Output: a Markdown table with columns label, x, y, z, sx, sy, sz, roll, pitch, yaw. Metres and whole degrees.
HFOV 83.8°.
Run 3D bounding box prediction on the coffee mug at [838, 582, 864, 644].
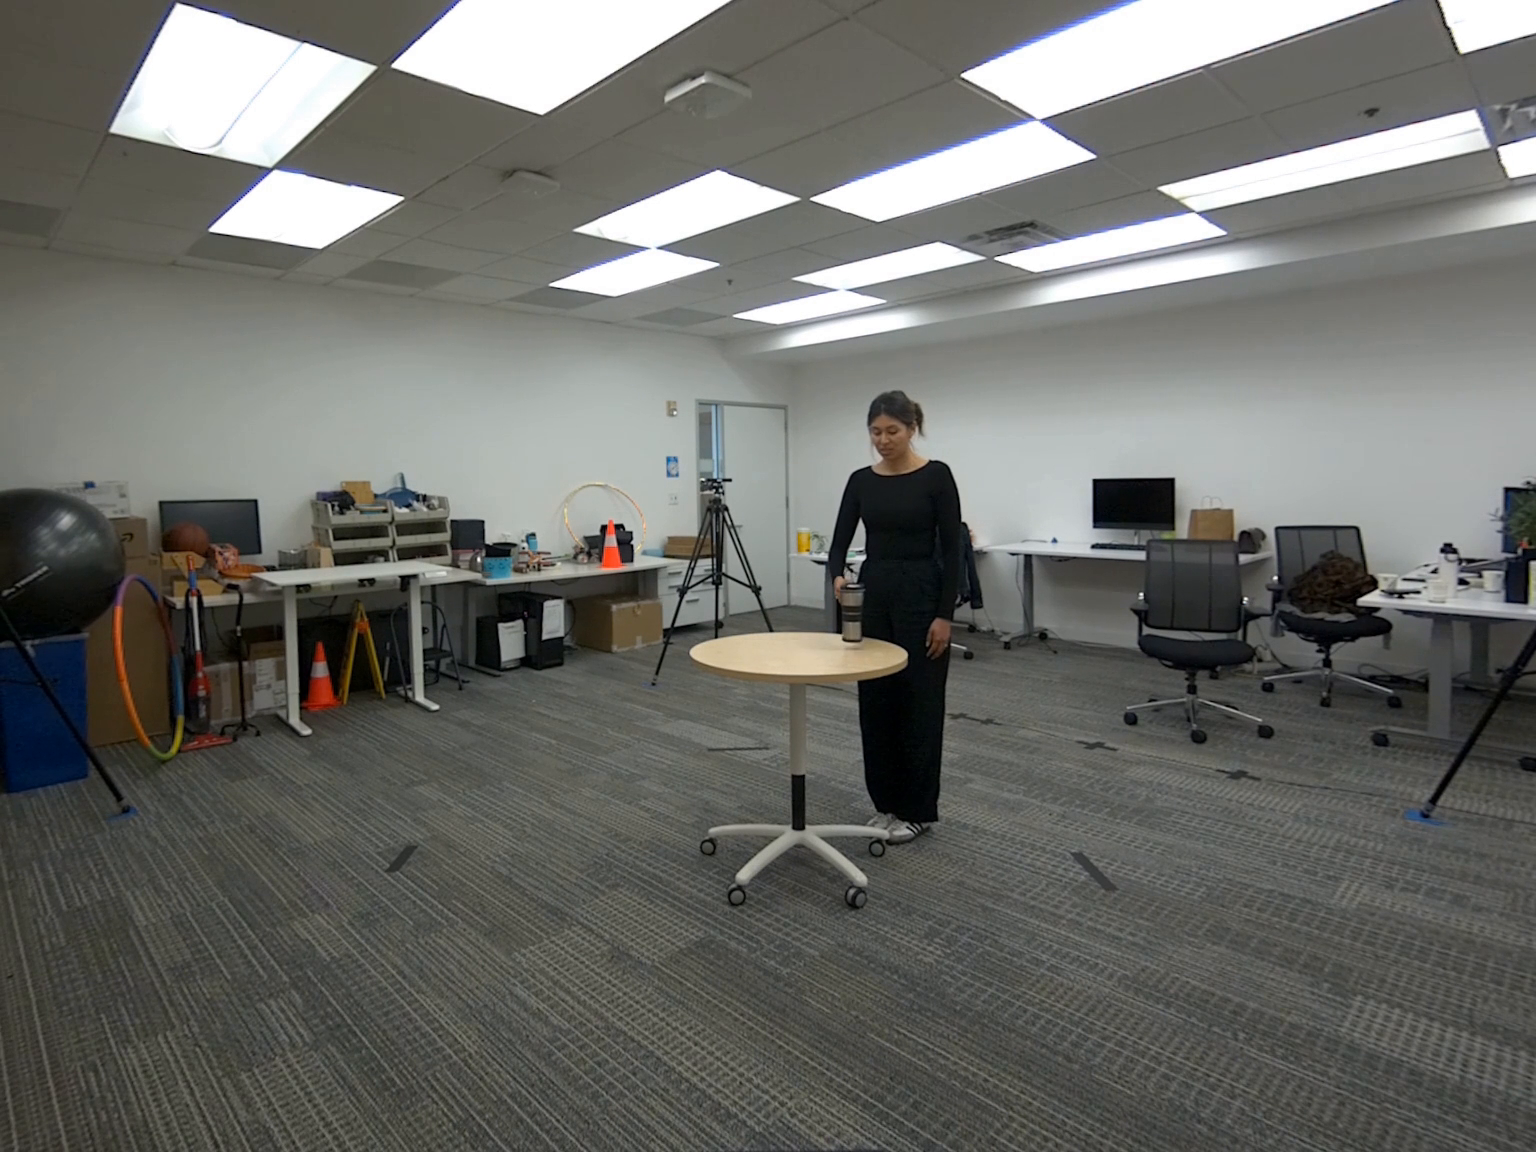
| label | x | y | z | sx | sy | sz | roll | pitch | yaw |
| --- | --- | --- | --- | --- | --- | --- | --- | --- | --- |
| coffee mug | 0.323 | 0.127 | 3.069 | 0.119 | 0.202 | 0.090 | -5 | 6 | -43 |
